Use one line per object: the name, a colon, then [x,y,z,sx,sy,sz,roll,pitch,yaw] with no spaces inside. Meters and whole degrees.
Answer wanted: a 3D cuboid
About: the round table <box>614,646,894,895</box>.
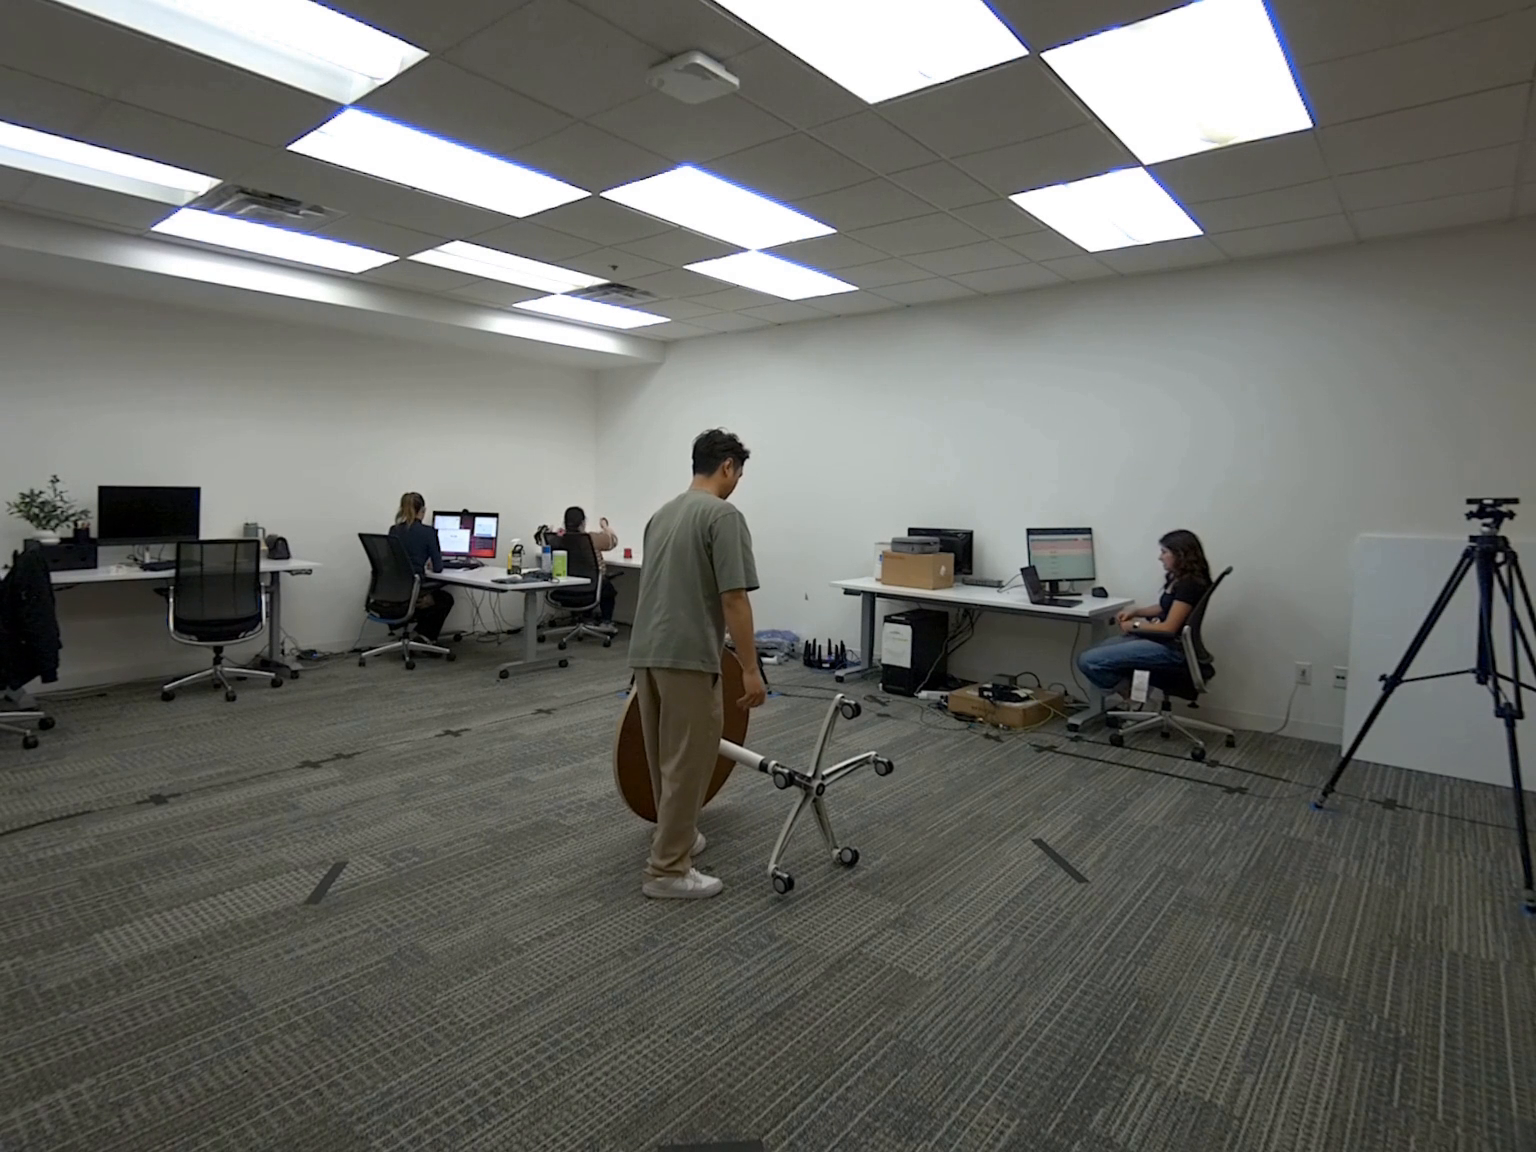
round table: [-0.050,0.713,3.272,0.816,0.780,0.761,13,11,41]
